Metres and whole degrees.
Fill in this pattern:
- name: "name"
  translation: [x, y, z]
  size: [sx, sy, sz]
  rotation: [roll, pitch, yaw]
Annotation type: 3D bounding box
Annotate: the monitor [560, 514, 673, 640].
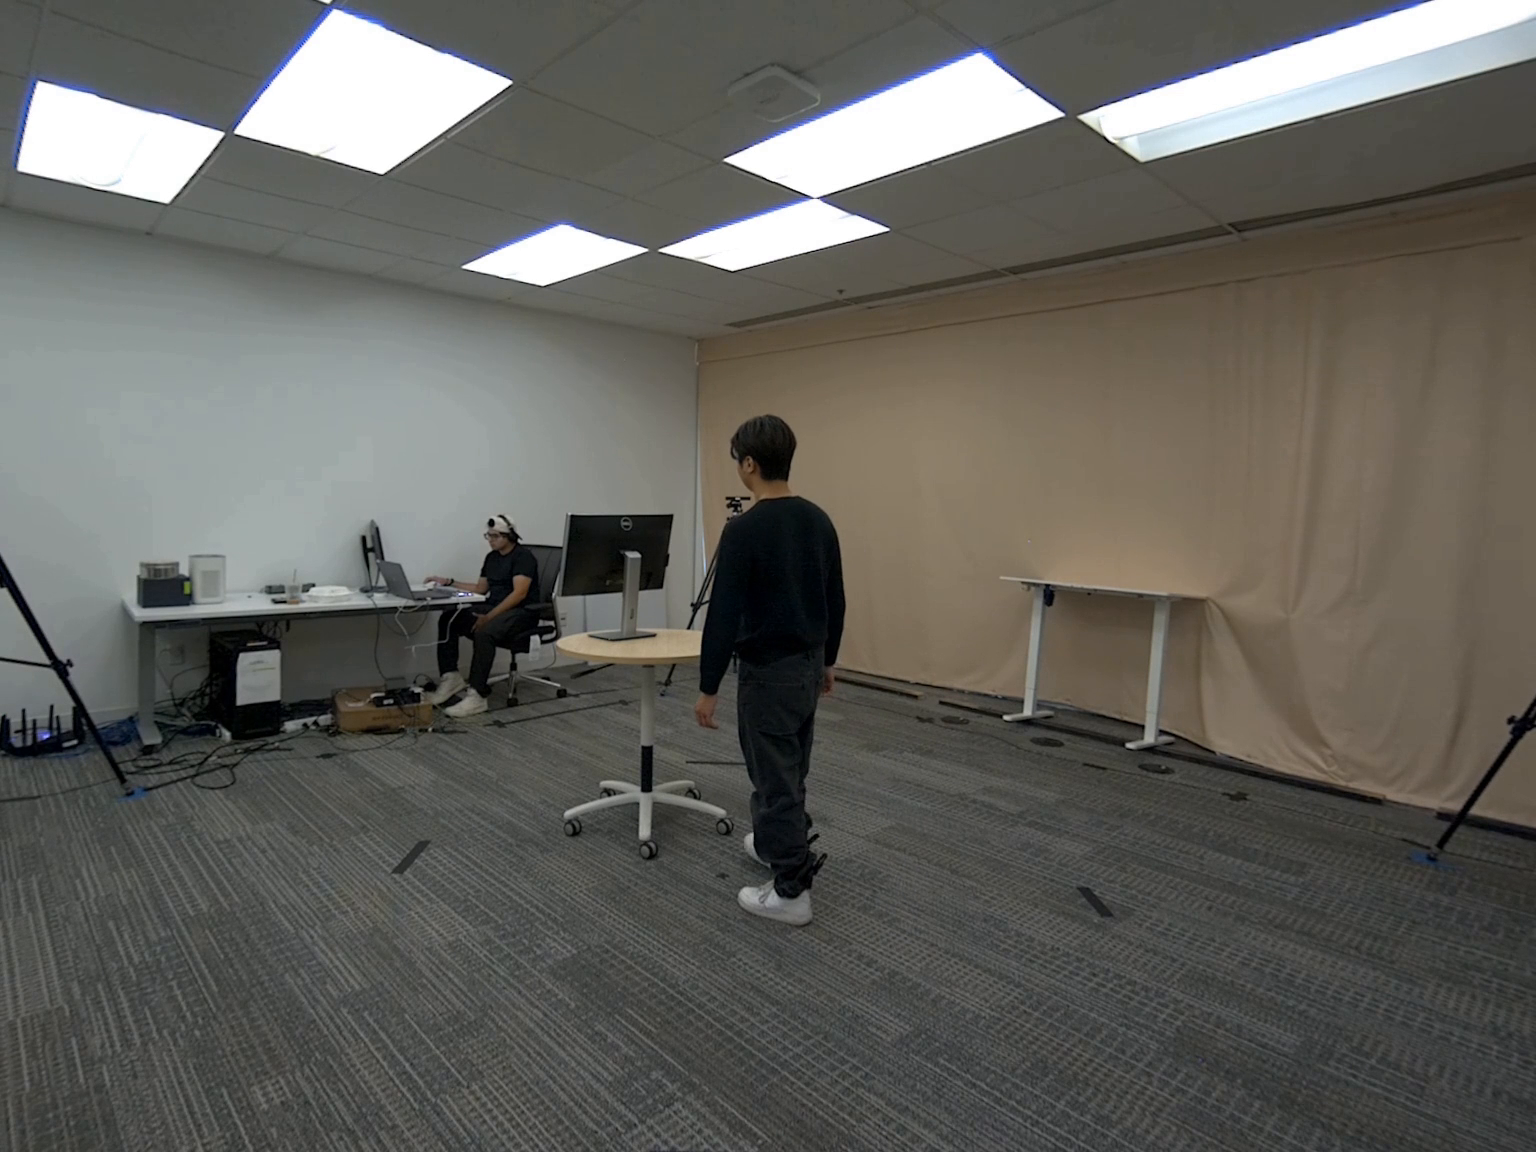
- name: "monitor"
  translation: [-0.649, 0.000, 3.684]
  size: [0.192, 0.522, 0.527]
  rotation: [2, 3, 43]
